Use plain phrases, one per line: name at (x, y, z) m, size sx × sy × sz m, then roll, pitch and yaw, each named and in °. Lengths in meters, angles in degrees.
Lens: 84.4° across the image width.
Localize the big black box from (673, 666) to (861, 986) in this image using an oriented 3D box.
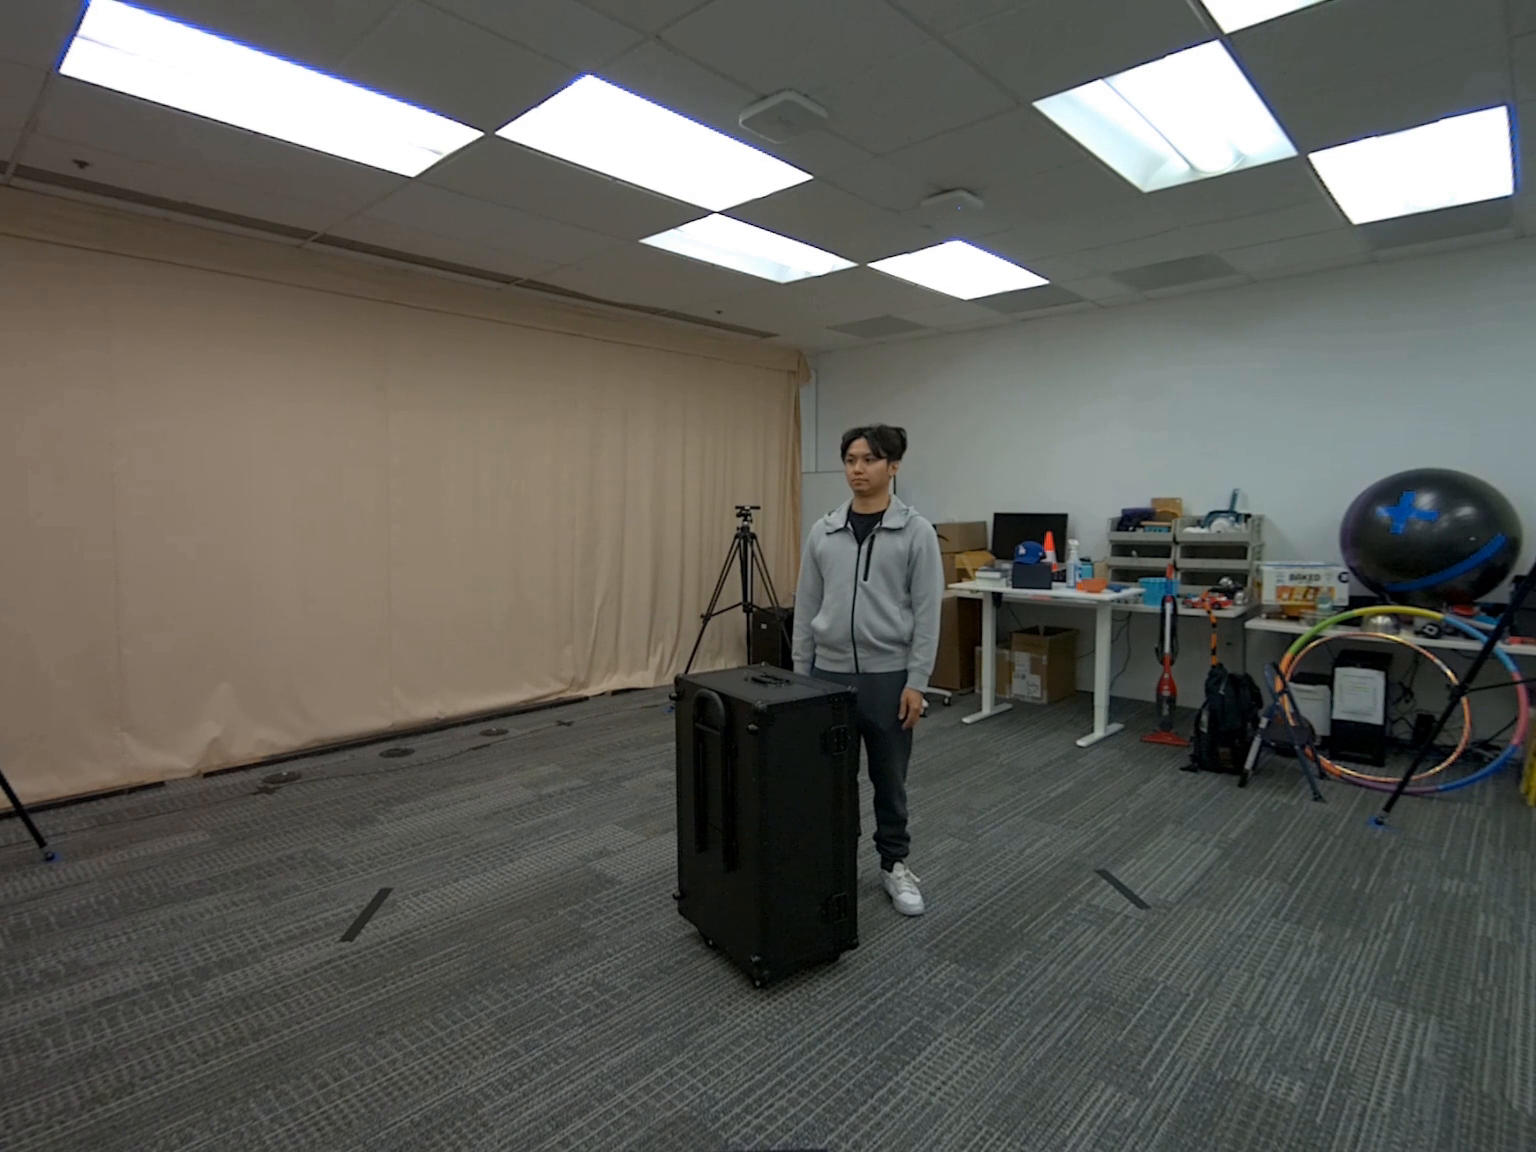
big black box at (-0.022, 0.754, 2.595) m, size 0.385 × 0.859 × 0.537 m, roll -4°, pitch 5°, yaw -33°
